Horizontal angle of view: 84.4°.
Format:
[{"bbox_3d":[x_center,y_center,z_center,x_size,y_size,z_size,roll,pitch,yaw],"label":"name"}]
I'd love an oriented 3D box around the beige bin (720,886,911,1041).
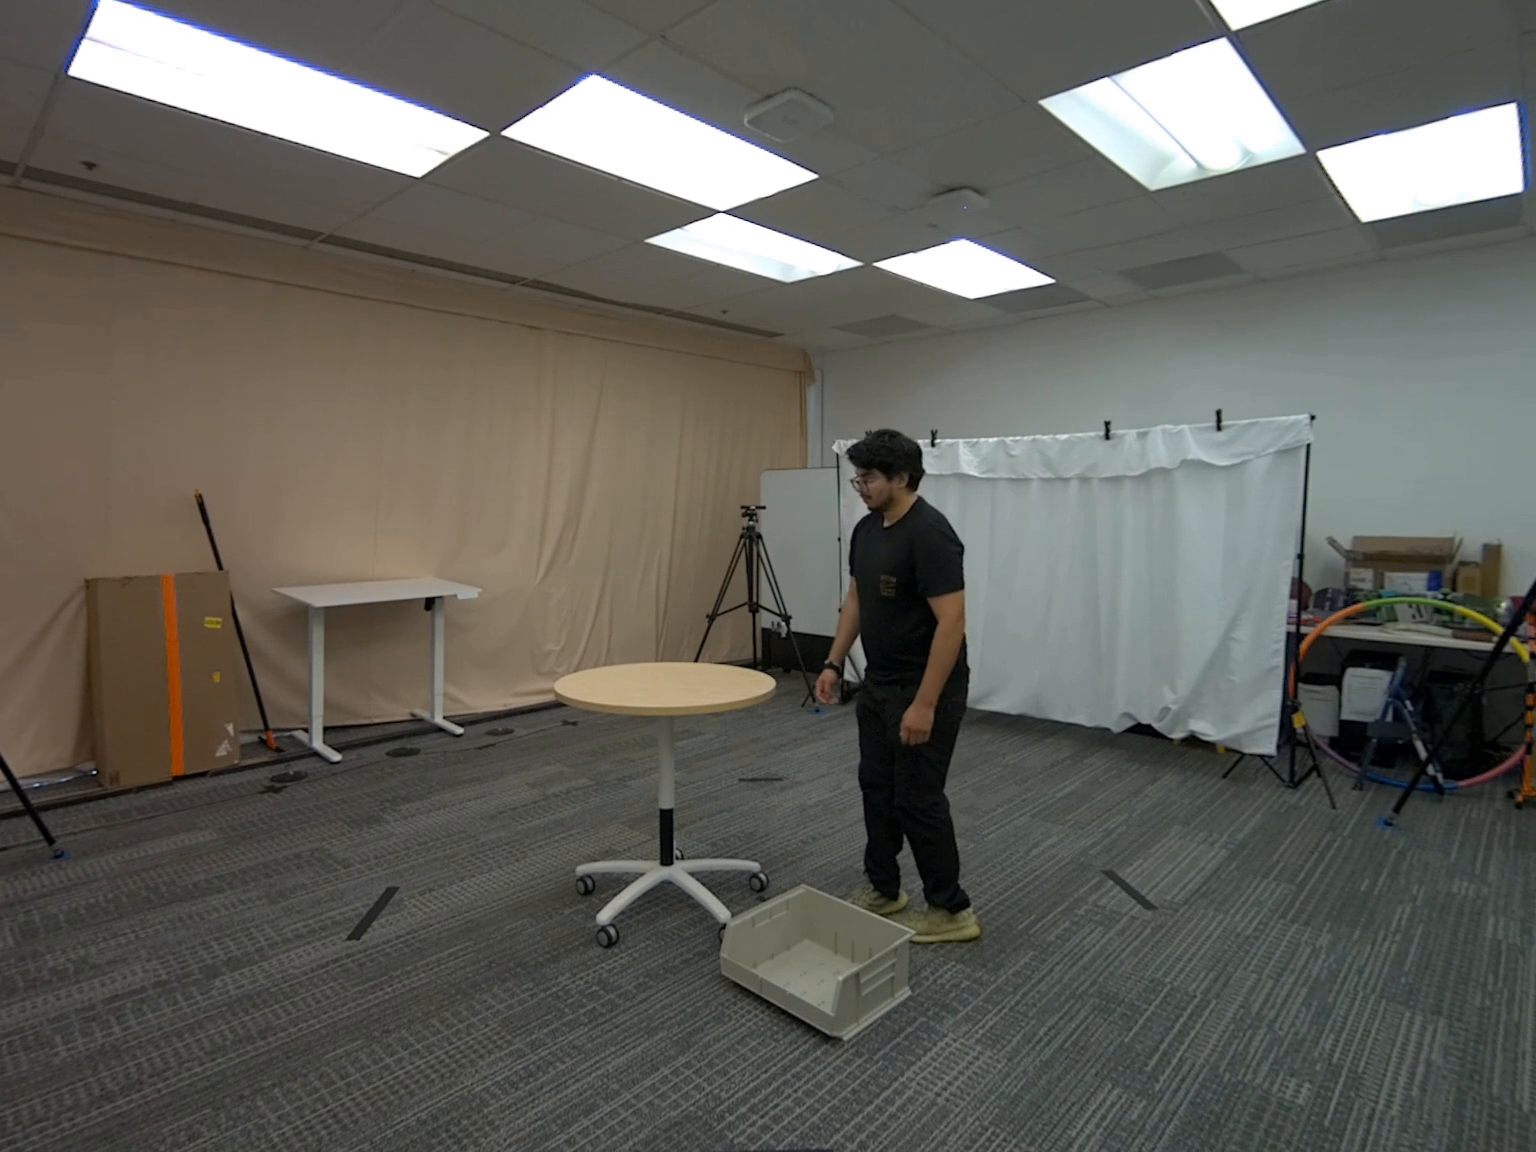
[{"bbox_3d":[0.140,1.096,2.424,0.436,0.189,0.365,4,5,44],"label":"beige bin"}]
